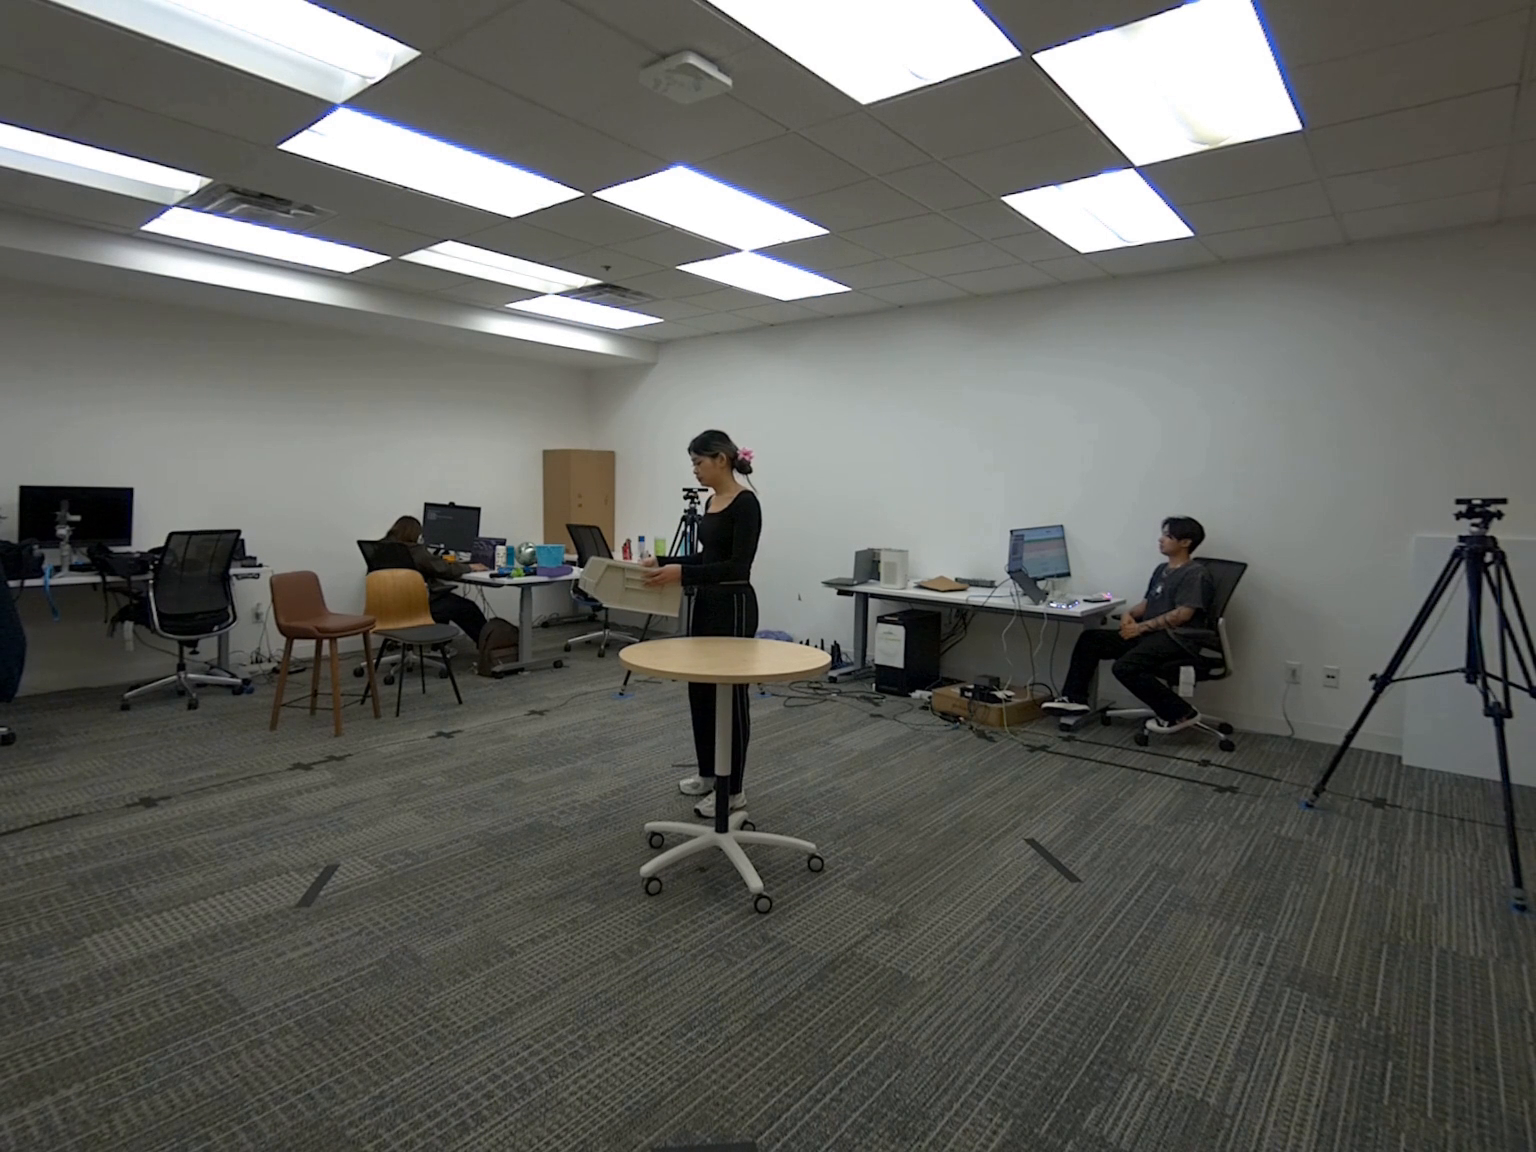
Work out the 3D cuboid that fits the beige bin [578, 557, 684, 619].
[{"bbox_3d":[-0.595,0.036,3.600,0.369,0.189,0.431,10,0,-19],"label":"beige bin"}]
